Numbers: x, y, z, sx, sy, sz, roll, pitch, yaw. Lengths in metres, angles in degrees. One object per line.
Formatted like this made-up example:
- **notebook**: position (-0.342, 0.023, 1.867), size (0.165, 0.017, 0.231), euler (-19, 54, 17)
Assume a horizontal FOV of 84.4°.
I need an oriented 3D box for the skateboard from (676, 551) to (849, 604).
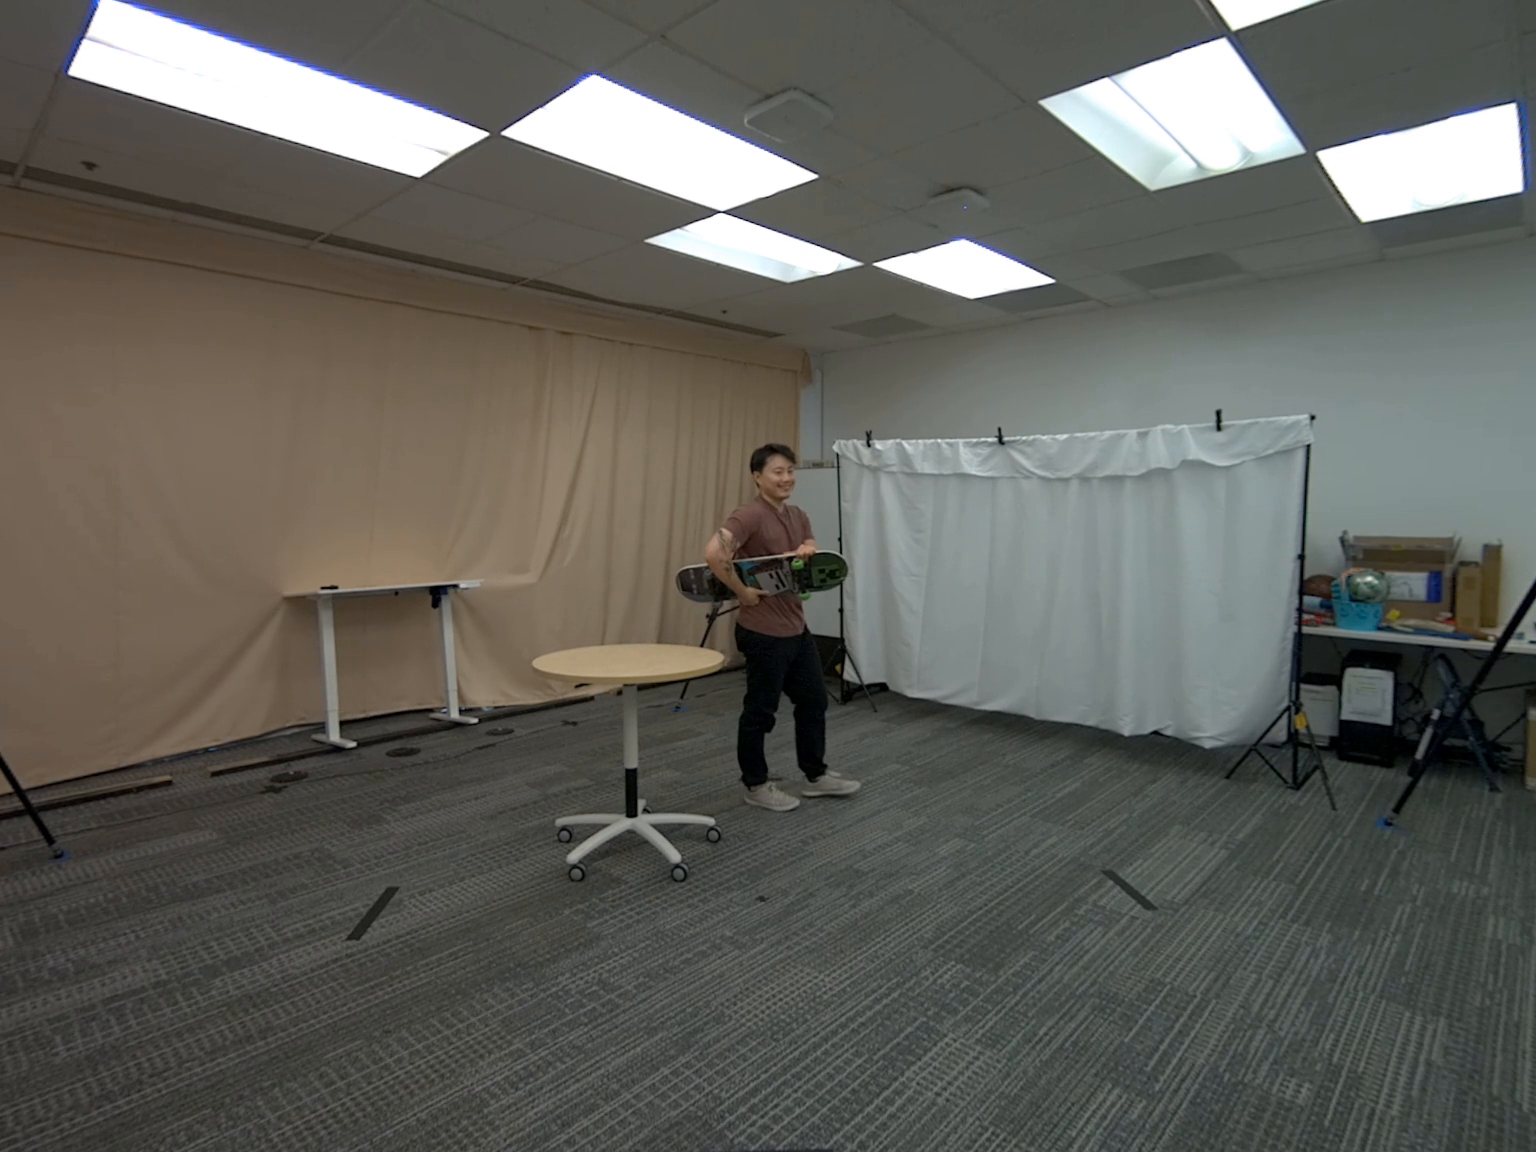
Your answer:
- **skateboard**: position (-0.041, 0.030, 3.701), size (0.800, 0.190, 0.110), euler (-6, 25, 19)
